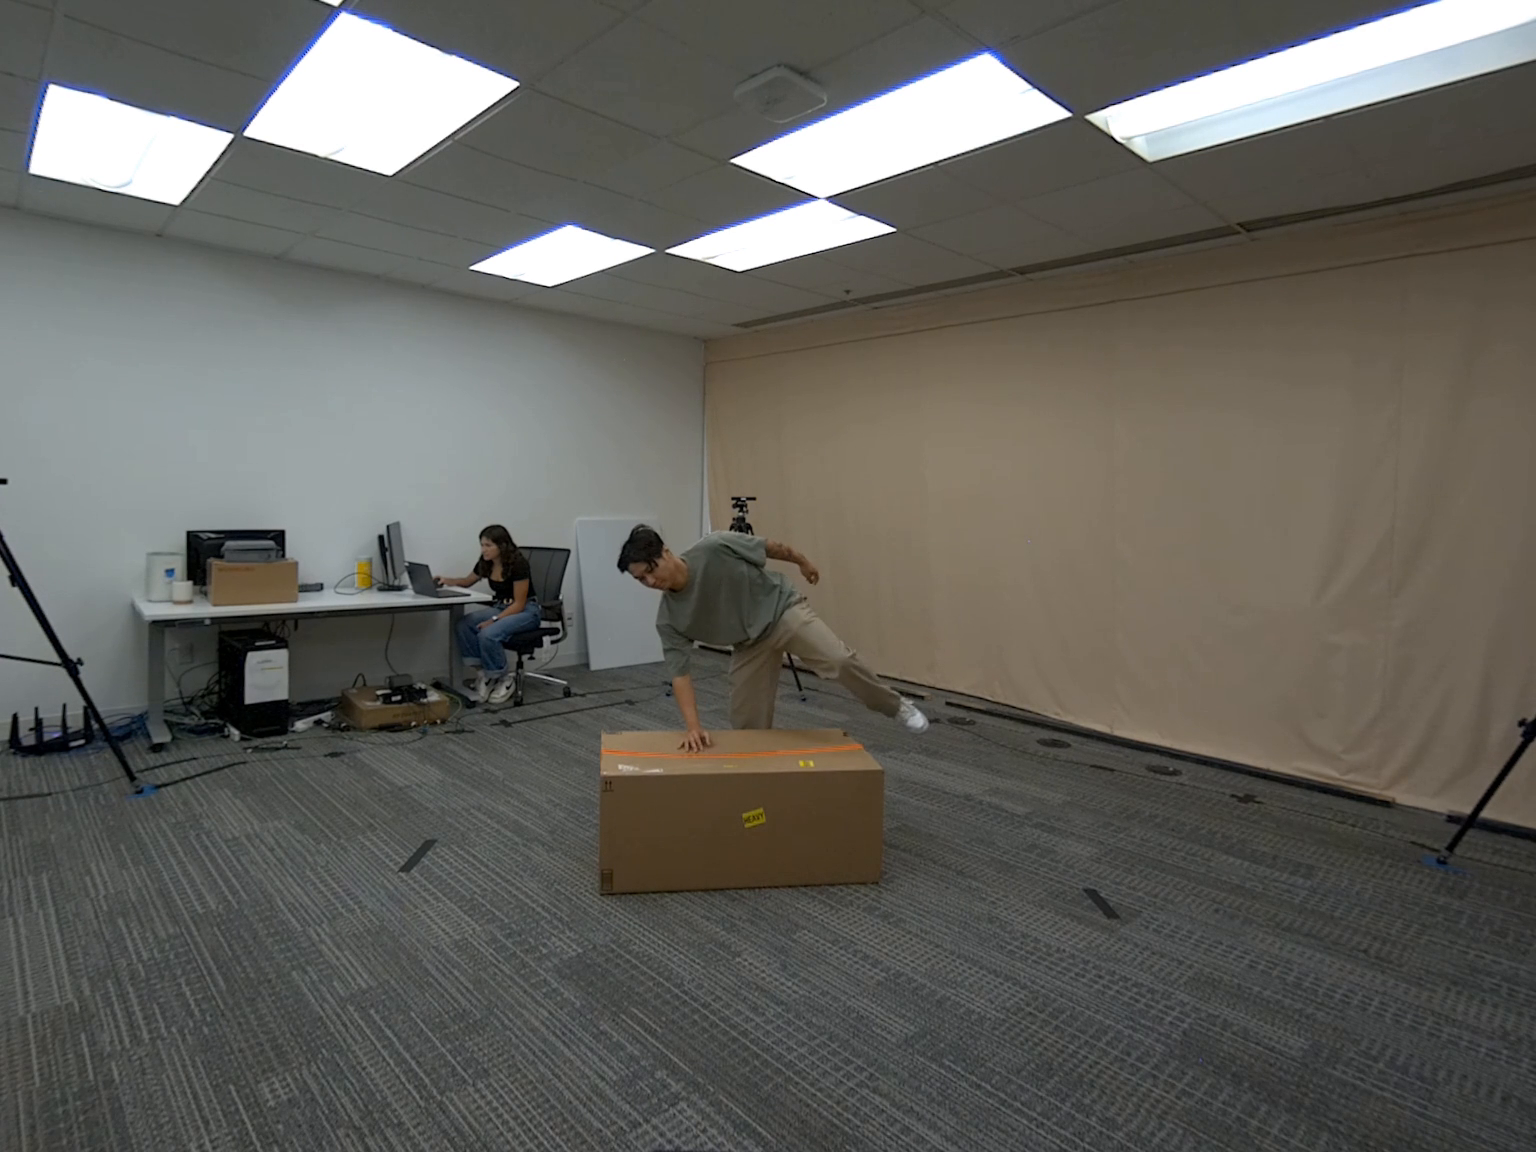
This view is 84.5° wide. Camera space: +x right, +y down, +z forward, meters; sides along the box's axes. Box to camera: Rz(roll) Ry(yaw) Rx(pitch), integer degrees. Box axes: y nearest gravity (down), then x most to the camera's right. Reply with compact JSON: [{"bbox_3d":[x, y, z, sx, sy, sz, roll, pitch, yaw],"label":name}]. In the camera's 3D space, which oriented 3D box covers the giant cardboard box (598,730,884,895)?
[{"bbox_3d":[-0.143,0.880,3.267,1.018,0.425,0.583,1,4,-9],"label":"giant cardboard box"}]
